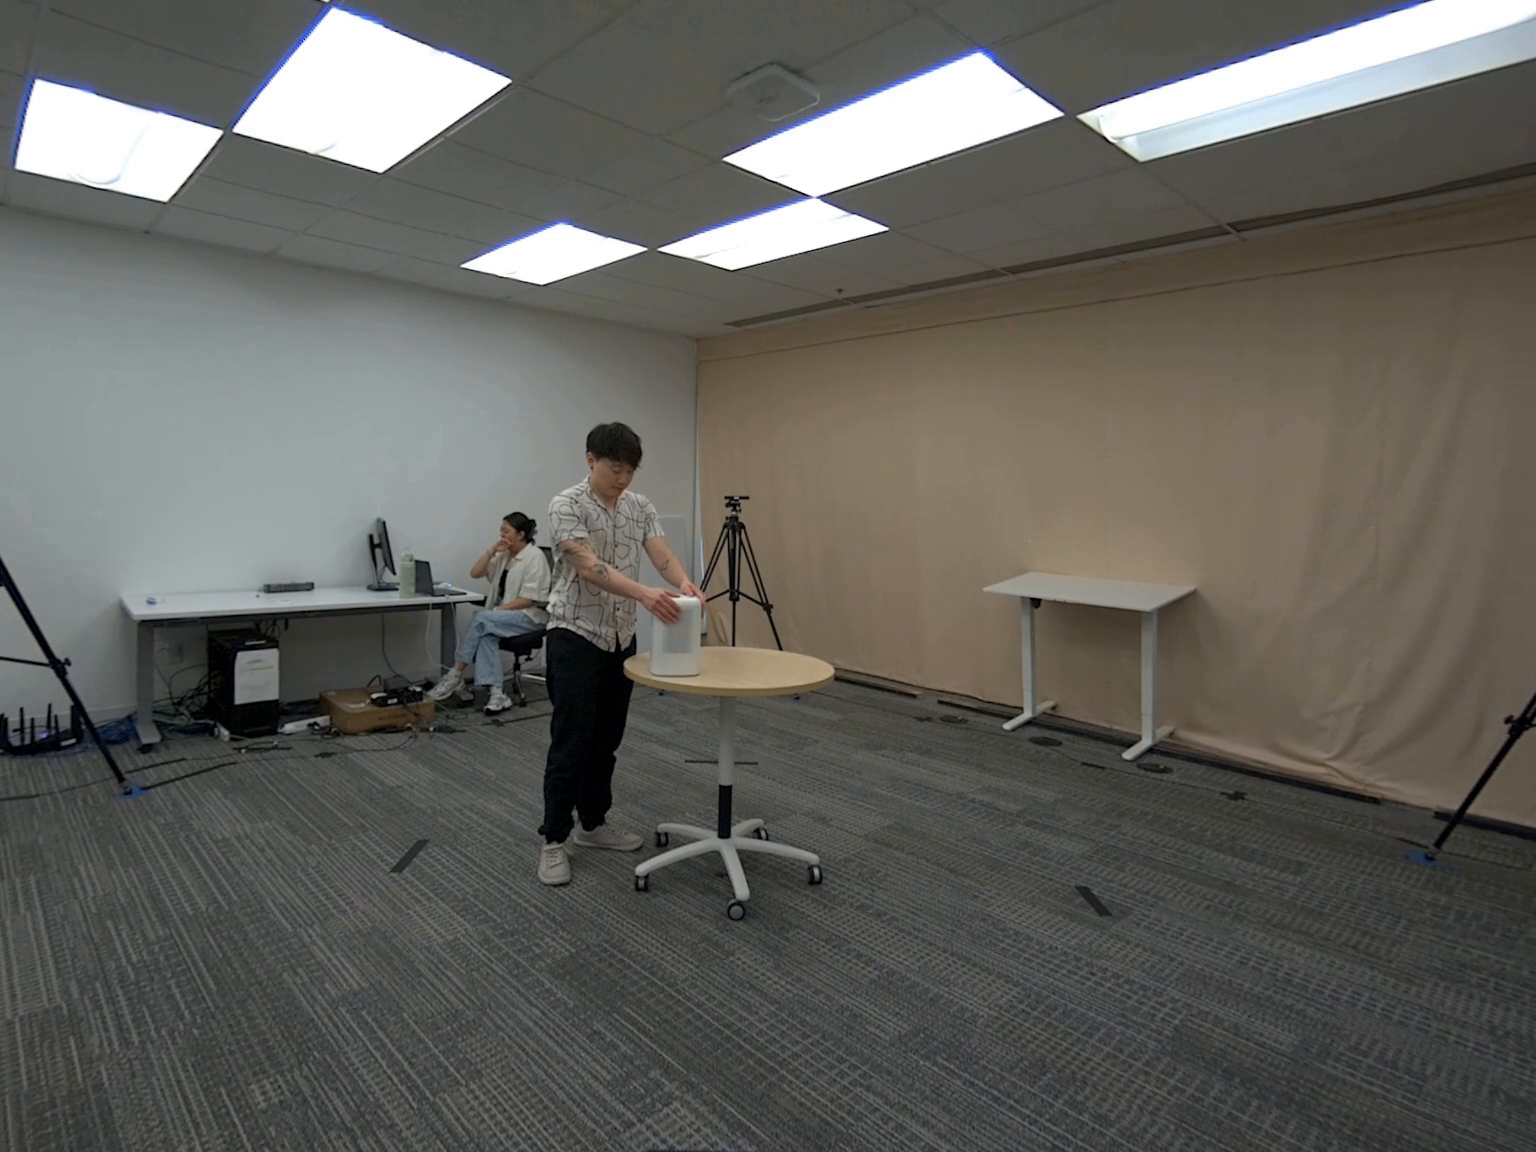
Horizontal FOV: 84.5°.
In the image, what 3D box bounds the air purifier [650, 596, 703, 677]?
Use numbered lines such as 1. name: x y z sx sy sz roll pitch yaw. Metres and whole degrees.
1. air purifier: -0.328 0.202 2.916 0.171 0.265 0.172 -3 1 -7
